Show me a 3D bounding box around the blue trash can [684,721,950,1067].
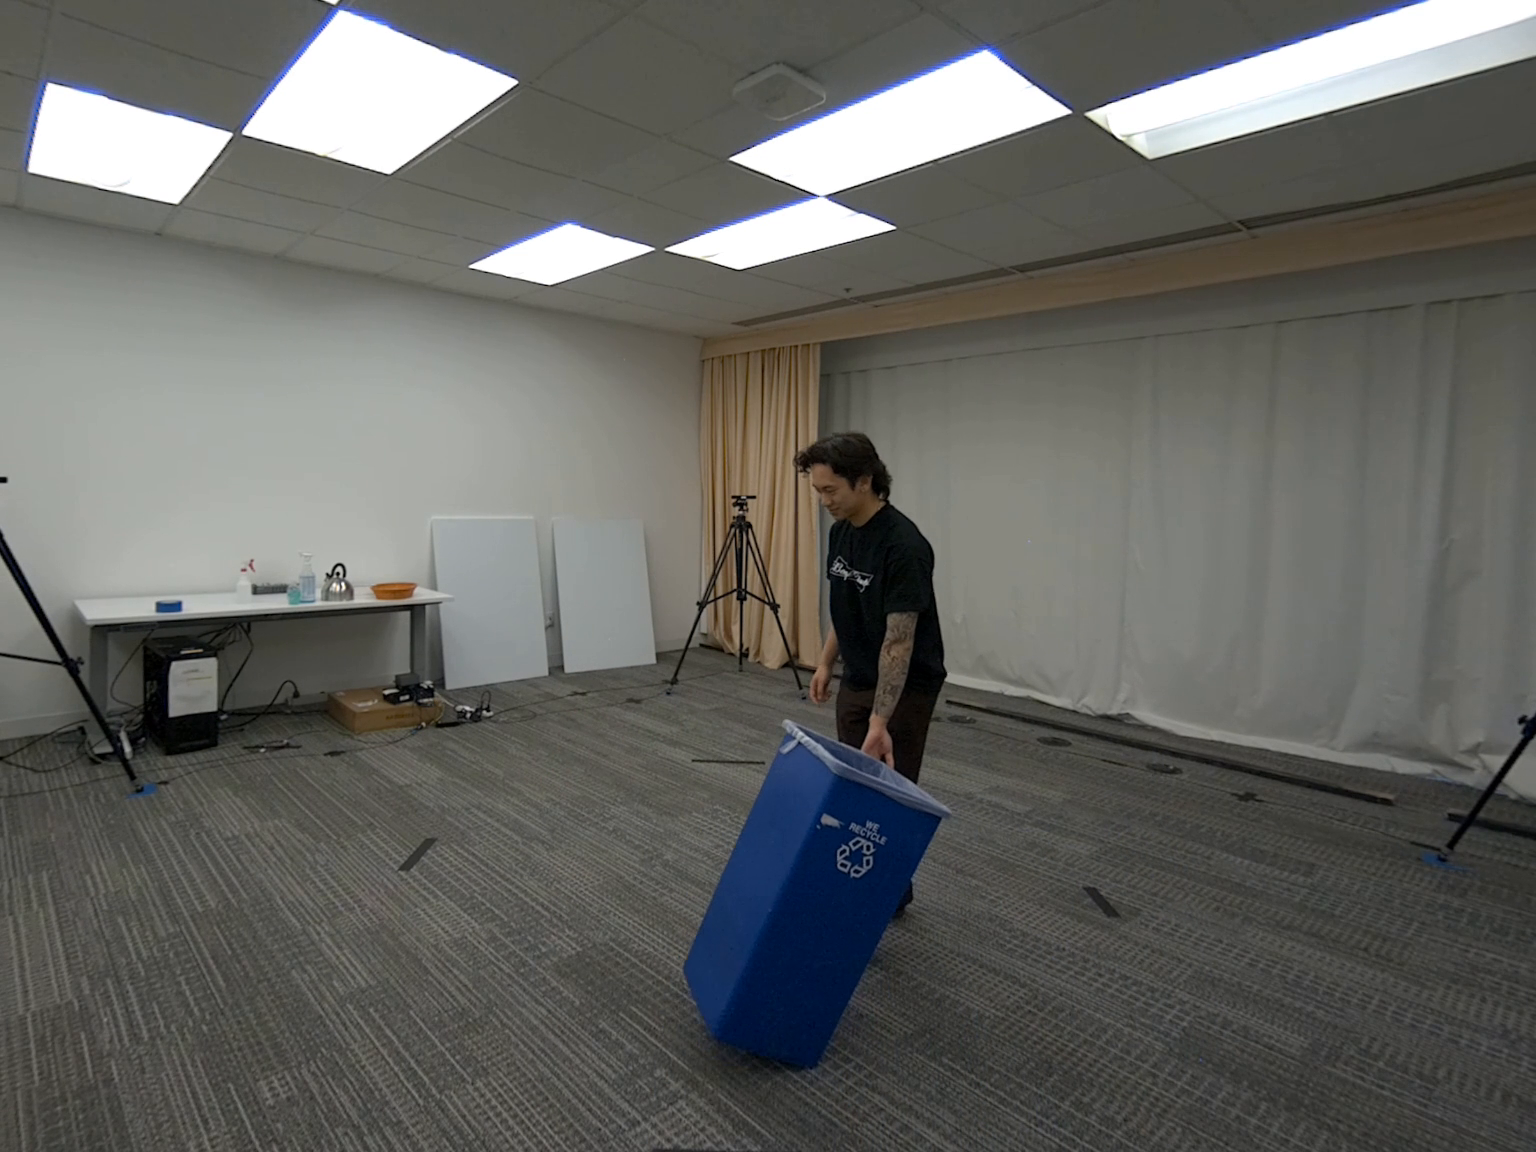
[{"bbox_3d":[0.096,0.814,2.171,0.367,0.714,0.385,26,-2,-20],"label":"blue trash can"}]
